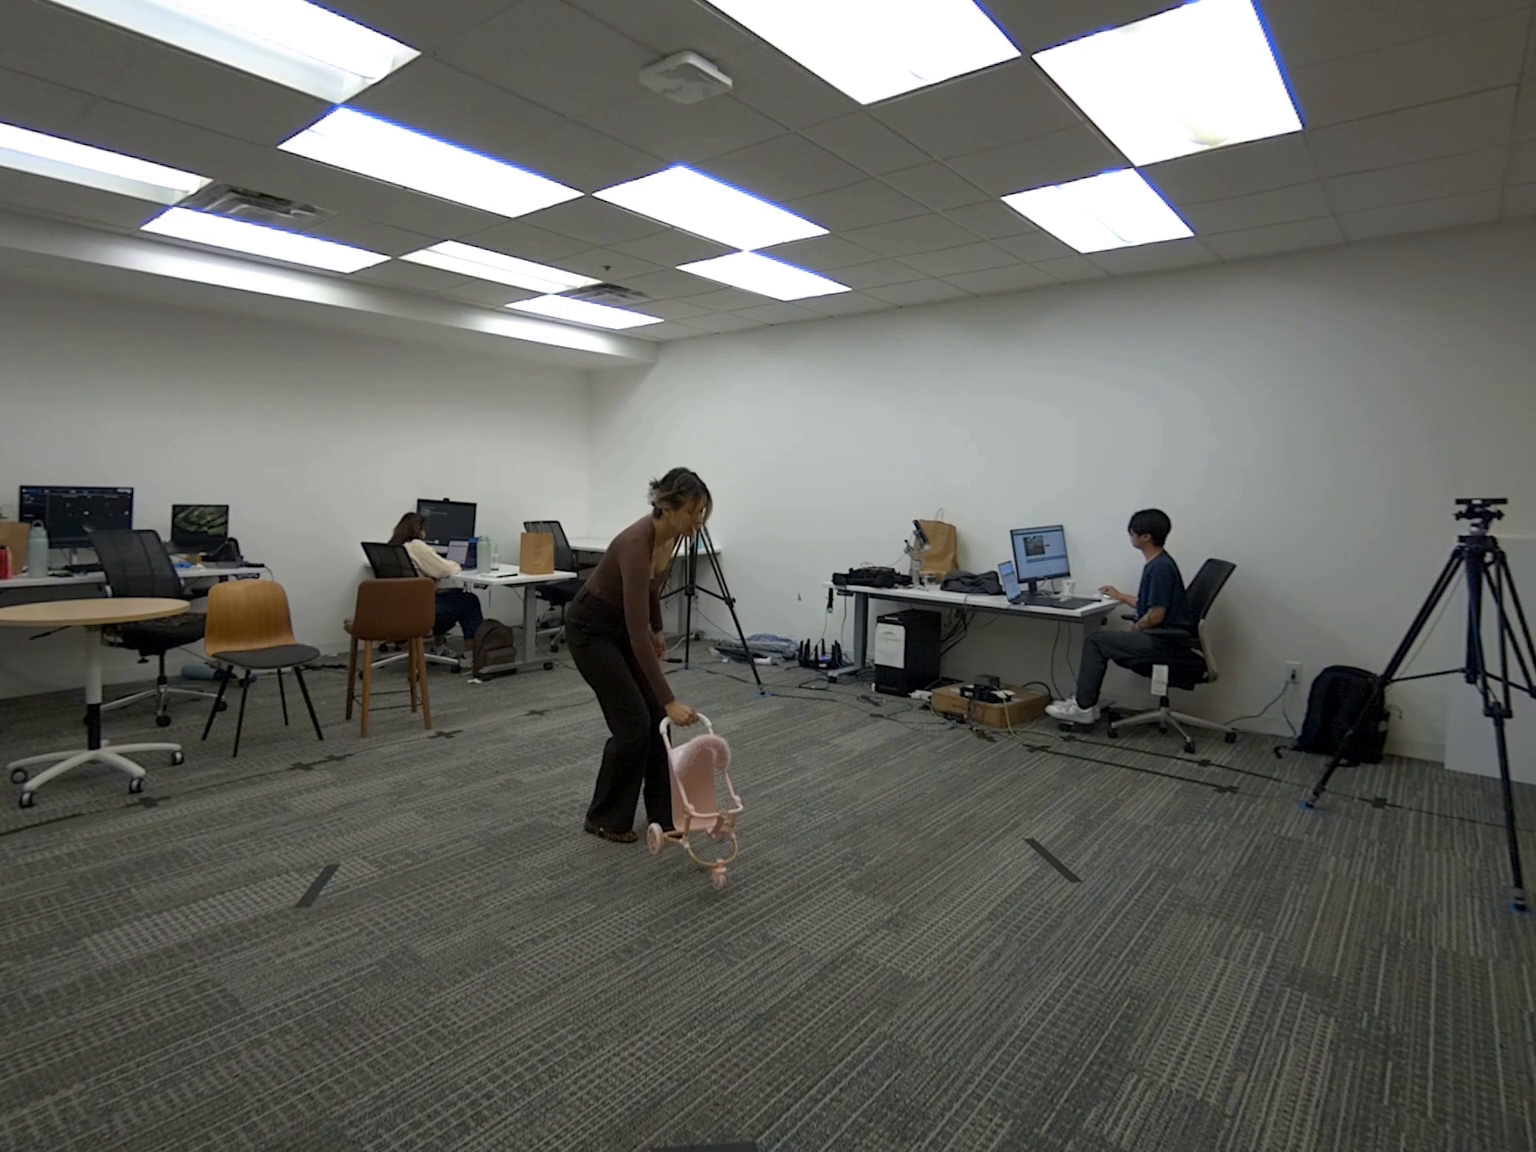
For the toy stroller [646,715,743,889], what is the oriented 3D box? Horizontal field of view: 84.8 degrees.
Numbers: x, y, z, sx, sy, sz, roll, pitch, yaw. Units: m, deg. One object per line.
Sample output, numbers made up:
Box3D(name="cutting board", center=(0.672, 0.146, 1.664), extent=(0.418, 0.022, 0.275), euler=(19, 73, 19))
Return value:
Box3D(name="toy stroller", center=(-0.249, 0.781, 2.992), extent=(0.274, 0.535, 0.350), euler=(2, -1, -29))
